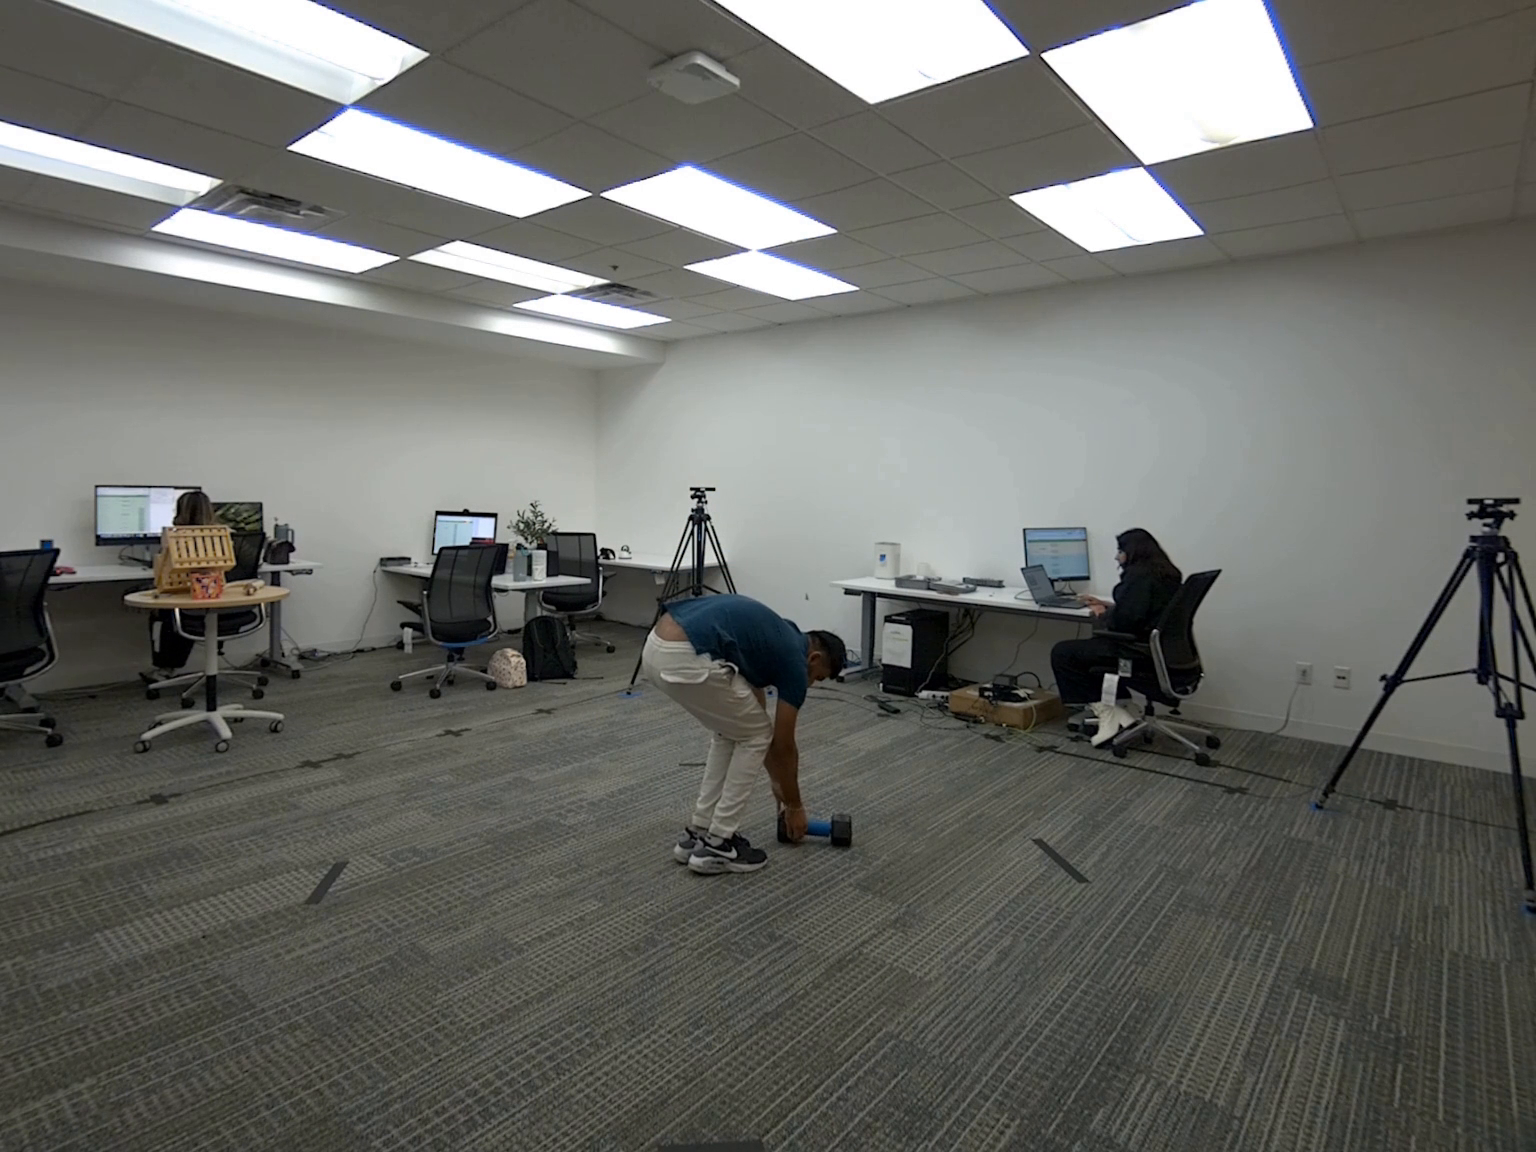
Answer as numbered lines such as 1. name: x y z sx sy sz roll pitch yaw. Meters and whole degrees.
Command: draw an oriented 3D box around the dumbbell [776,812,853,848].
1. dumbbell: 0.189 0.986 3.374 0.297 0.108 0.122 -1 9 10
